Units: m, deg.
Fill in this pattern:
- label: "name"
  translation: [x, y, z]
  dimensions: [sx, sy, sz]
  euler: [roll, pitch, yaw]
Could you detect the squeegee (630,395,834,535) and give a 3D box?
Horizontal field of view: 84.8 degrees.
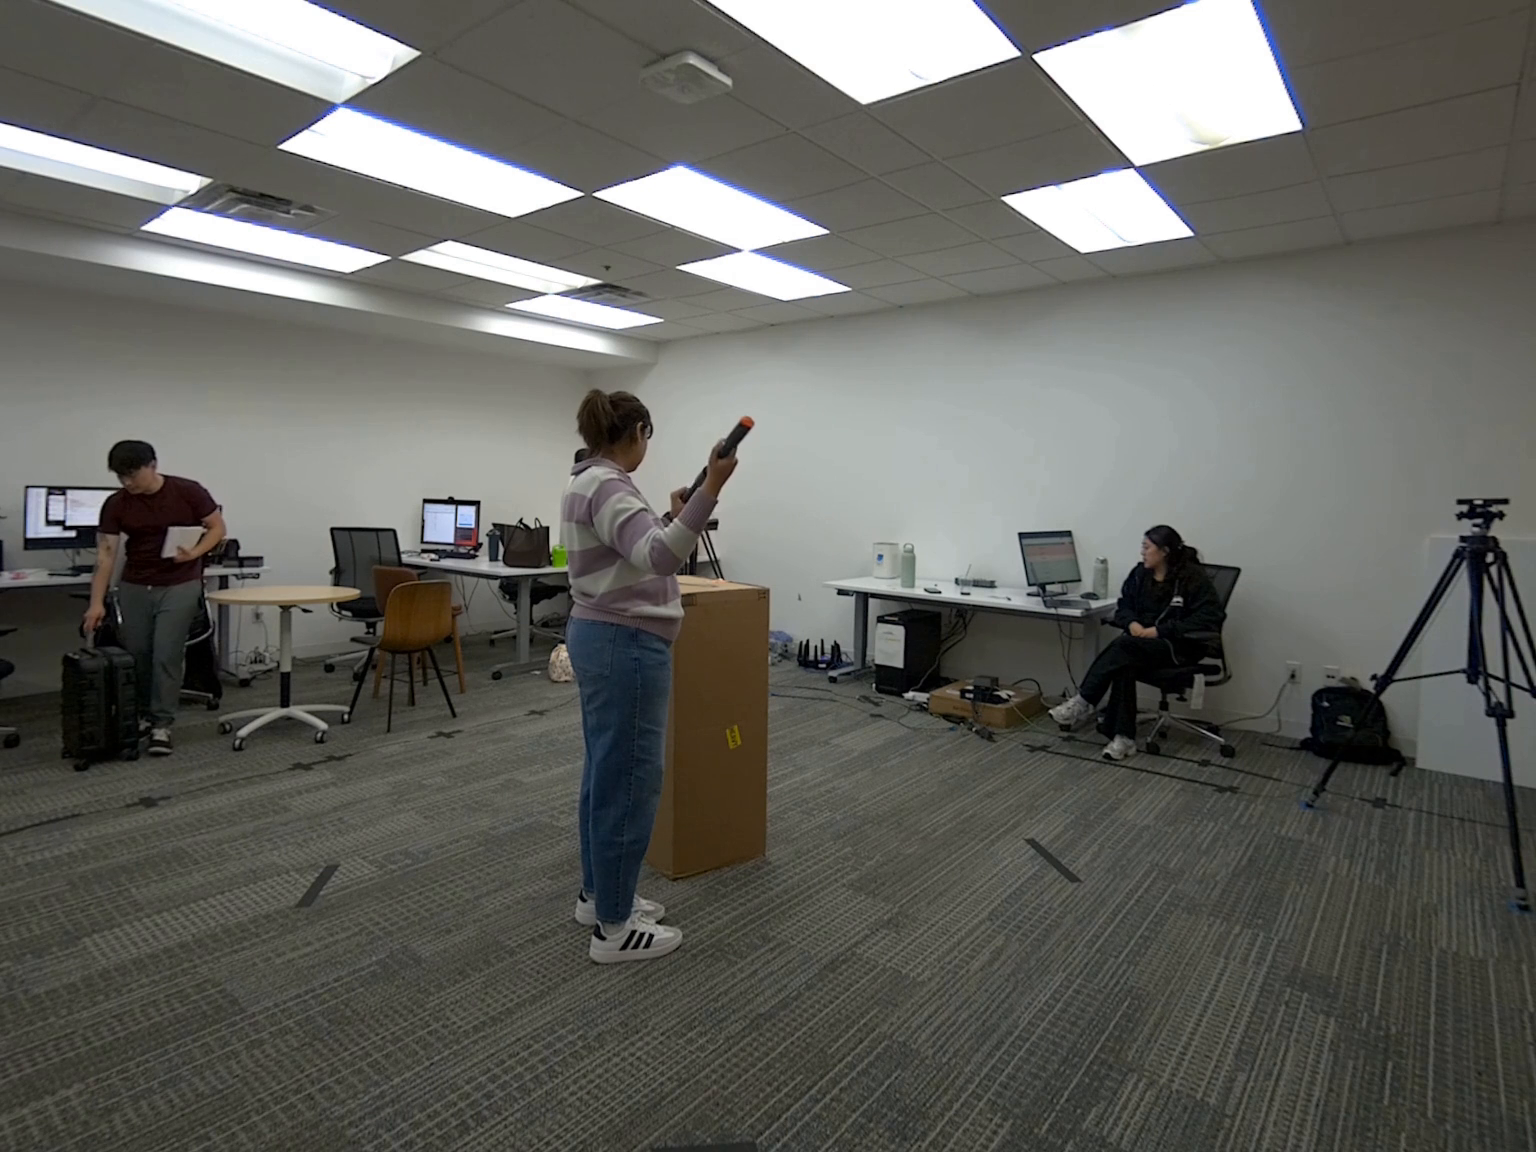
- label: "squeegee"
  translation: [-0.231, -0.268, 2.645]
  dimensions: [0.433, 0.053, 1.542]
  euler: [-8, -5, -13]
